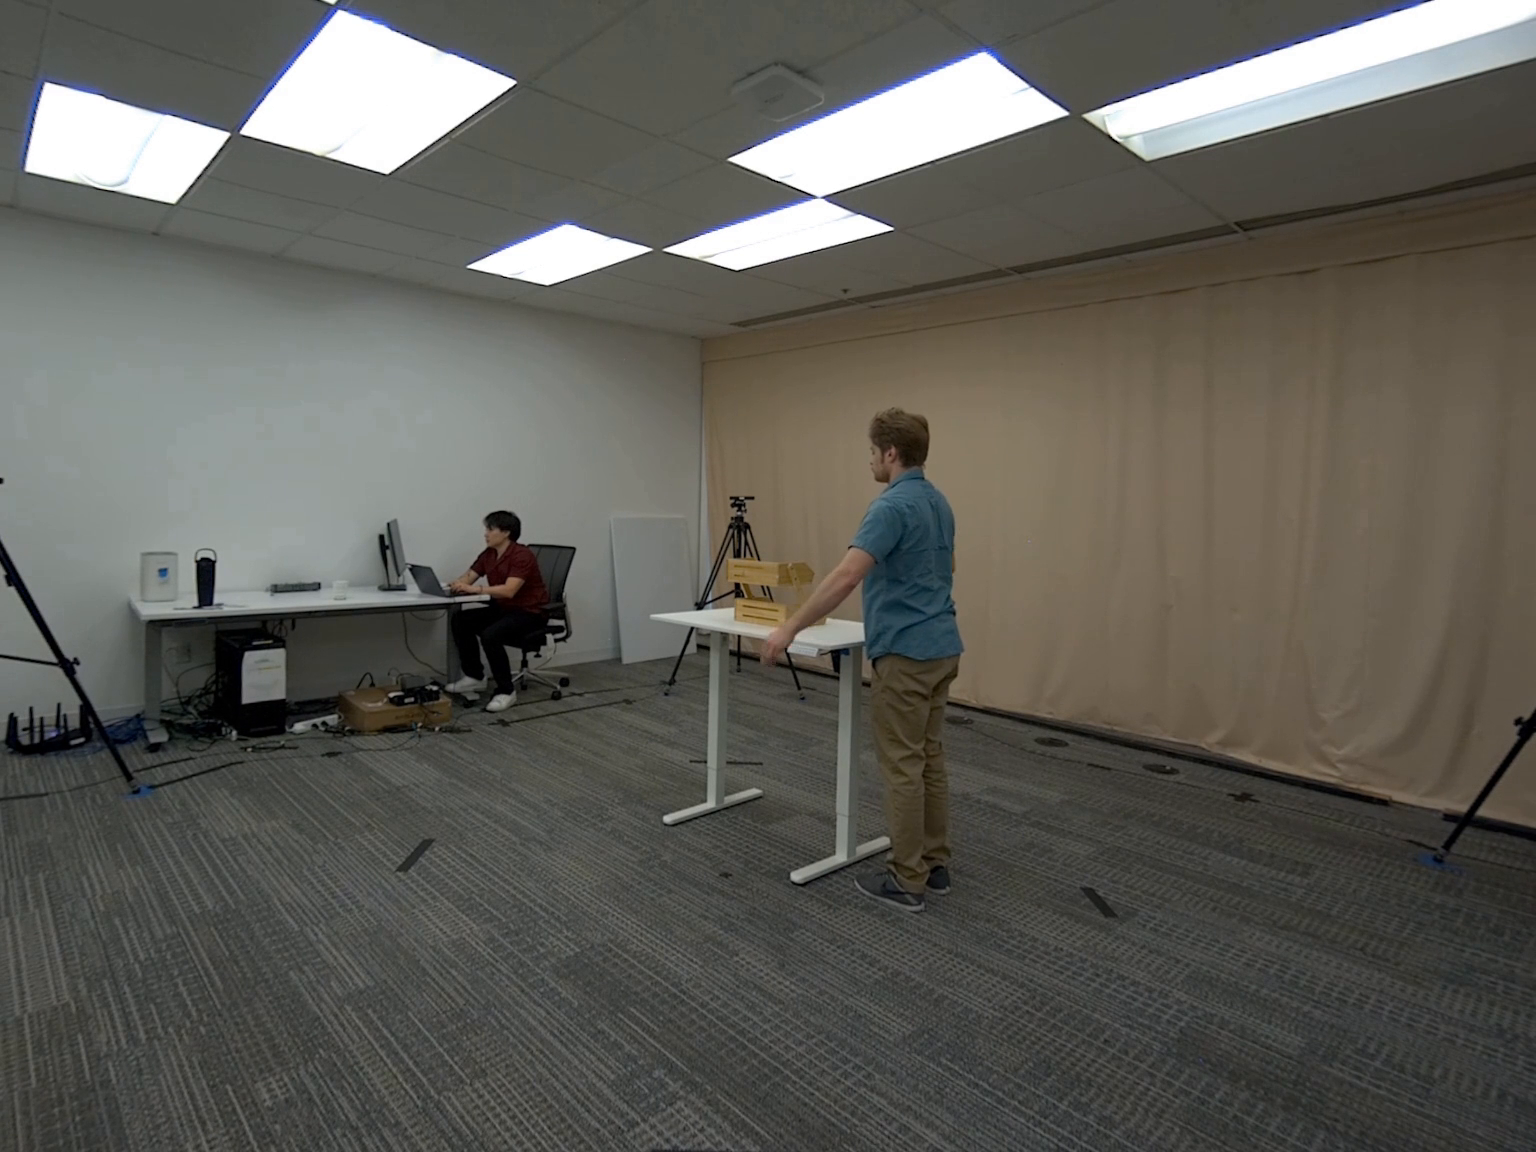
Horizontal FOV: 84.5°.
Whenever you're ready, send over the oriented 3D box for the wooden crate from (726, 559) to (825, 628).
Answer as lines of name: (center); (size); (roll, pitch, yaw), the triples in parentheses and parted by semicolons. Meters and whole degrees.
wooden crate: (0.034, 0.062, 3.478); (0.295, 0.273, 0.333); (-2, 5, -44)
